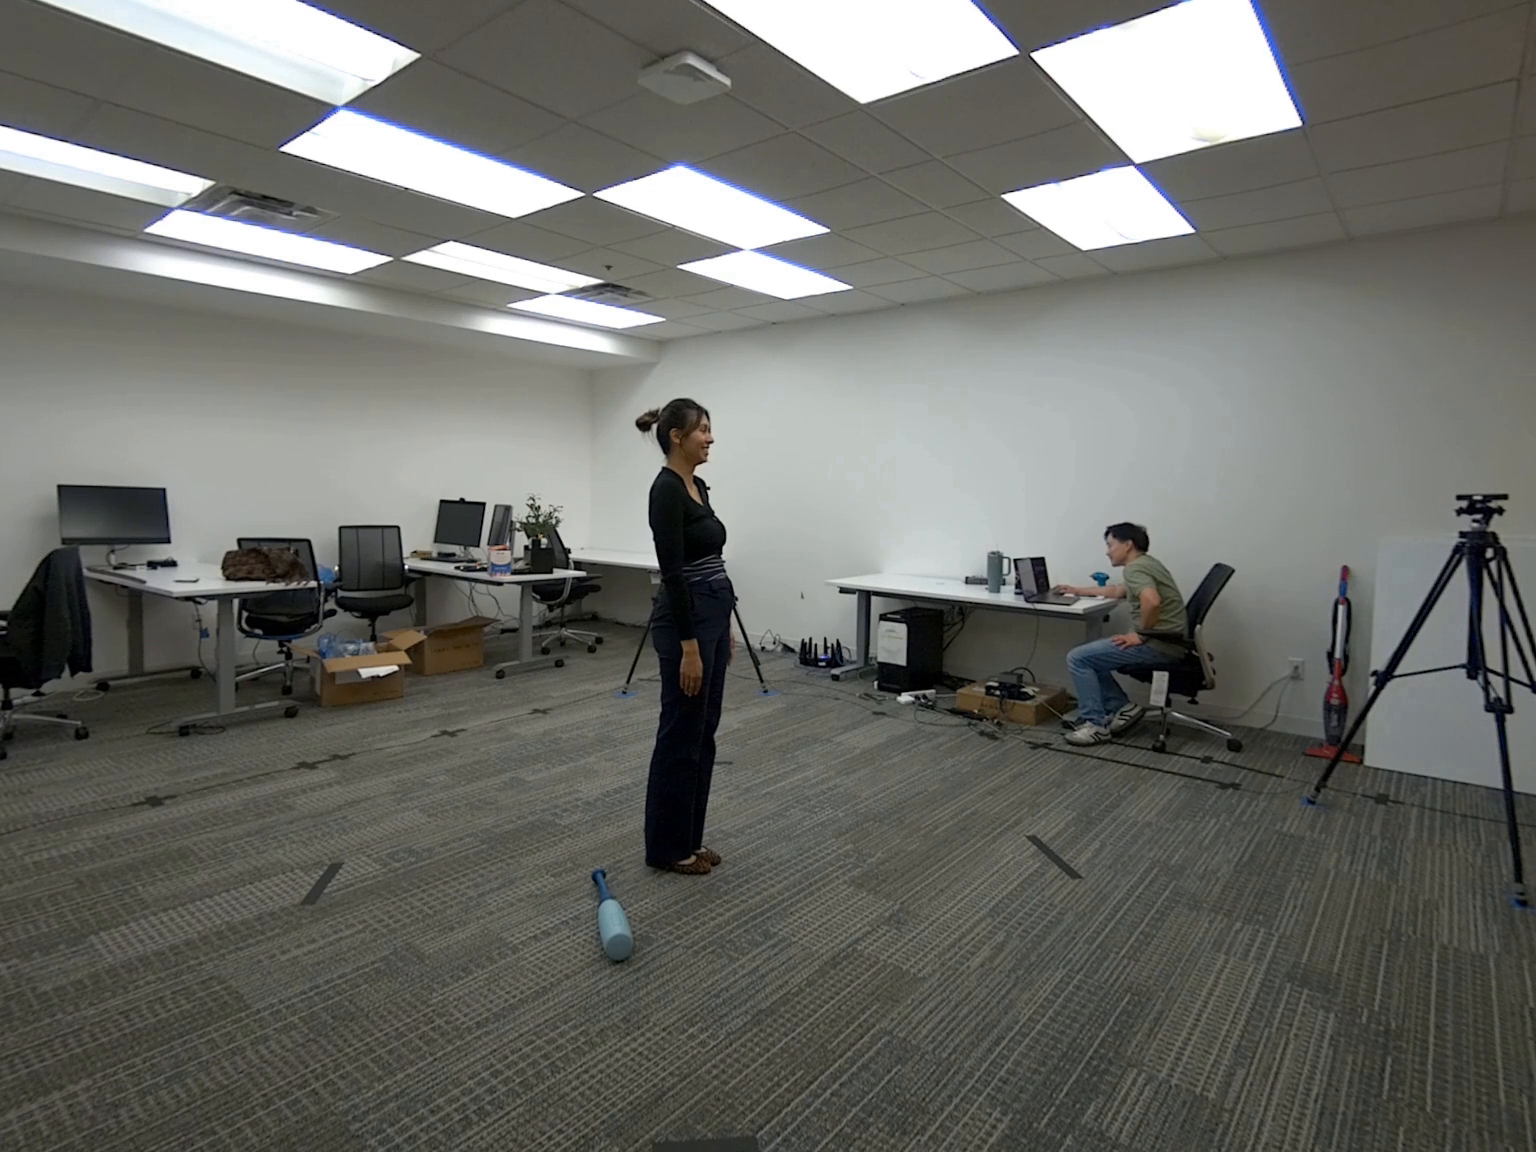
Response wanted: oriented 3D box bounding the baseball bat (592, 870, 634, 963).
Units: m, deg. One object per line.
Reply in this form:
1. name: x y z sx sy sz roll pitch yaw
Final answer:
1. baseball bat: -0.520 1.065 2.720 0.087 0.089 0.552 0 3 -17
